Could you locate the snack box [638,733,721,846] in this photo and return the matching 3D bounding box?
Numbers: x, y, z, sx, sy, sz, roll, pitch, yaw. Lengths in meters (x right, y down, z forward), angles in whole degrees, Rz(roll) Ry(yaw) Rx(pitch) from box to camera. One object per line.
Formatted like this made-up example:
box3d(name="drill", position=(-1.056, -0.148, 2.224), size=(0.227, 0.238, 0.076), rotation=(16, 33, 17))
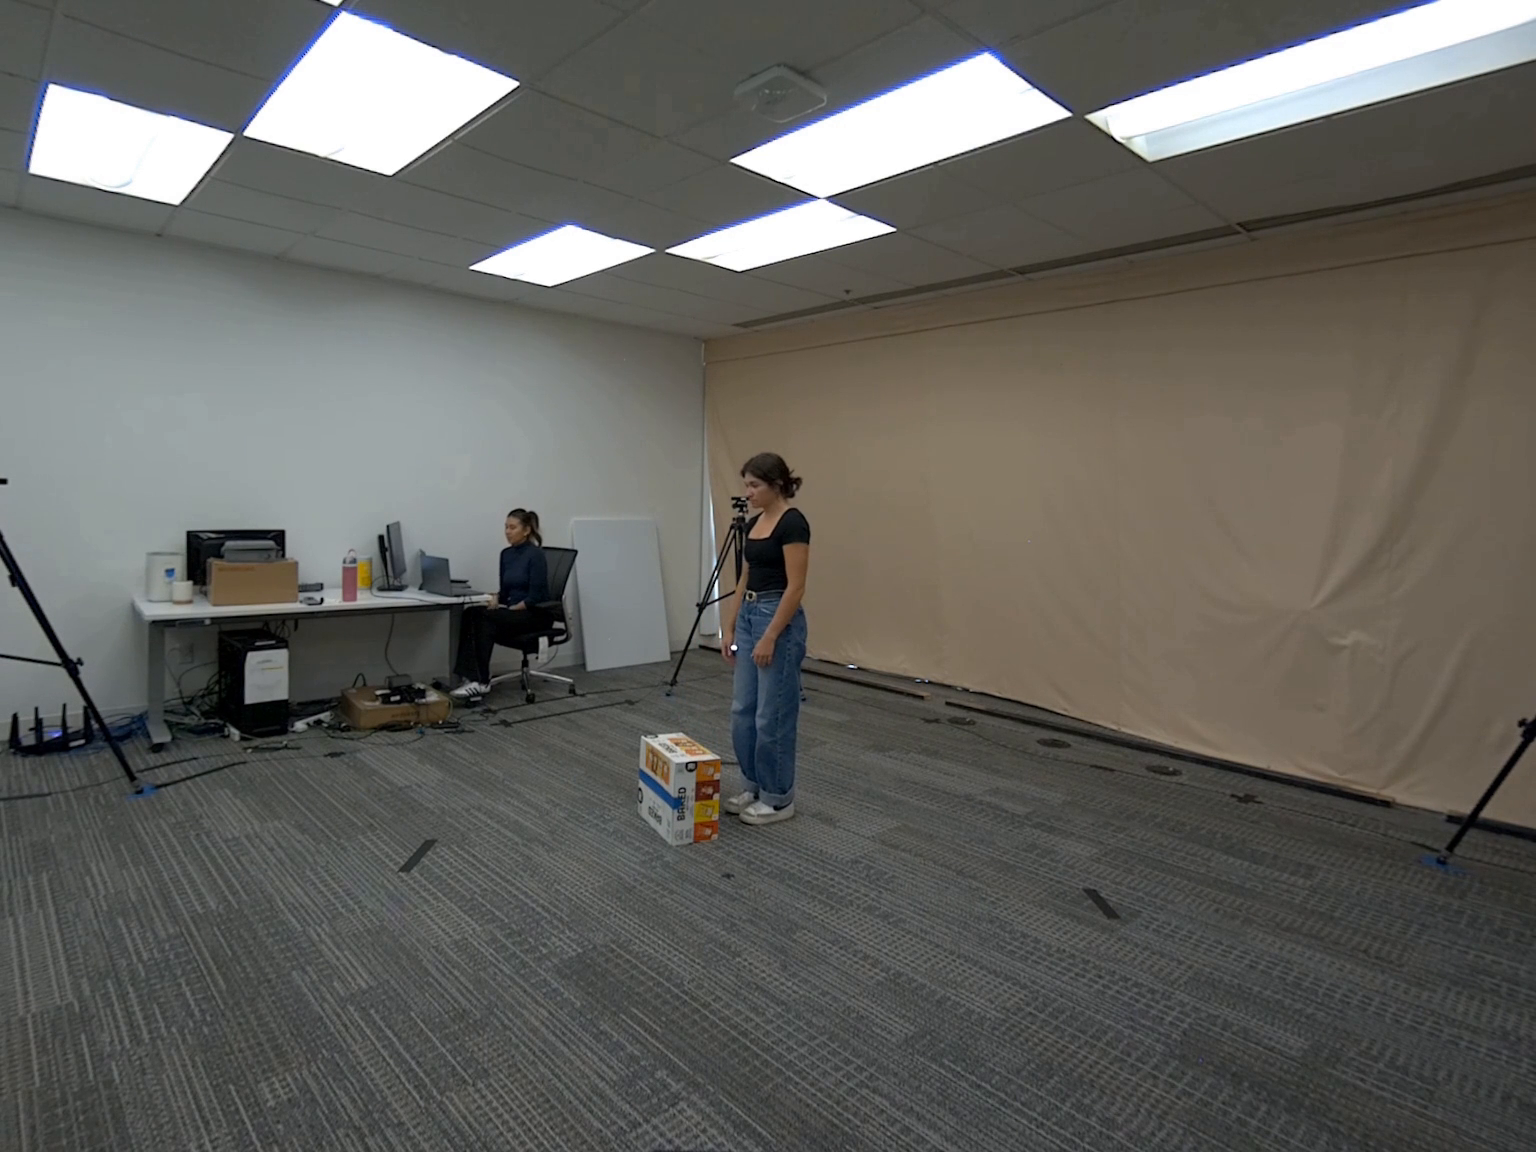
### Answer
box3d(name="snack box", position=(-0.393, 0.893, 3.564), size=(0.201, 0.340, 0.414), rotation=(1, 4, -28))
